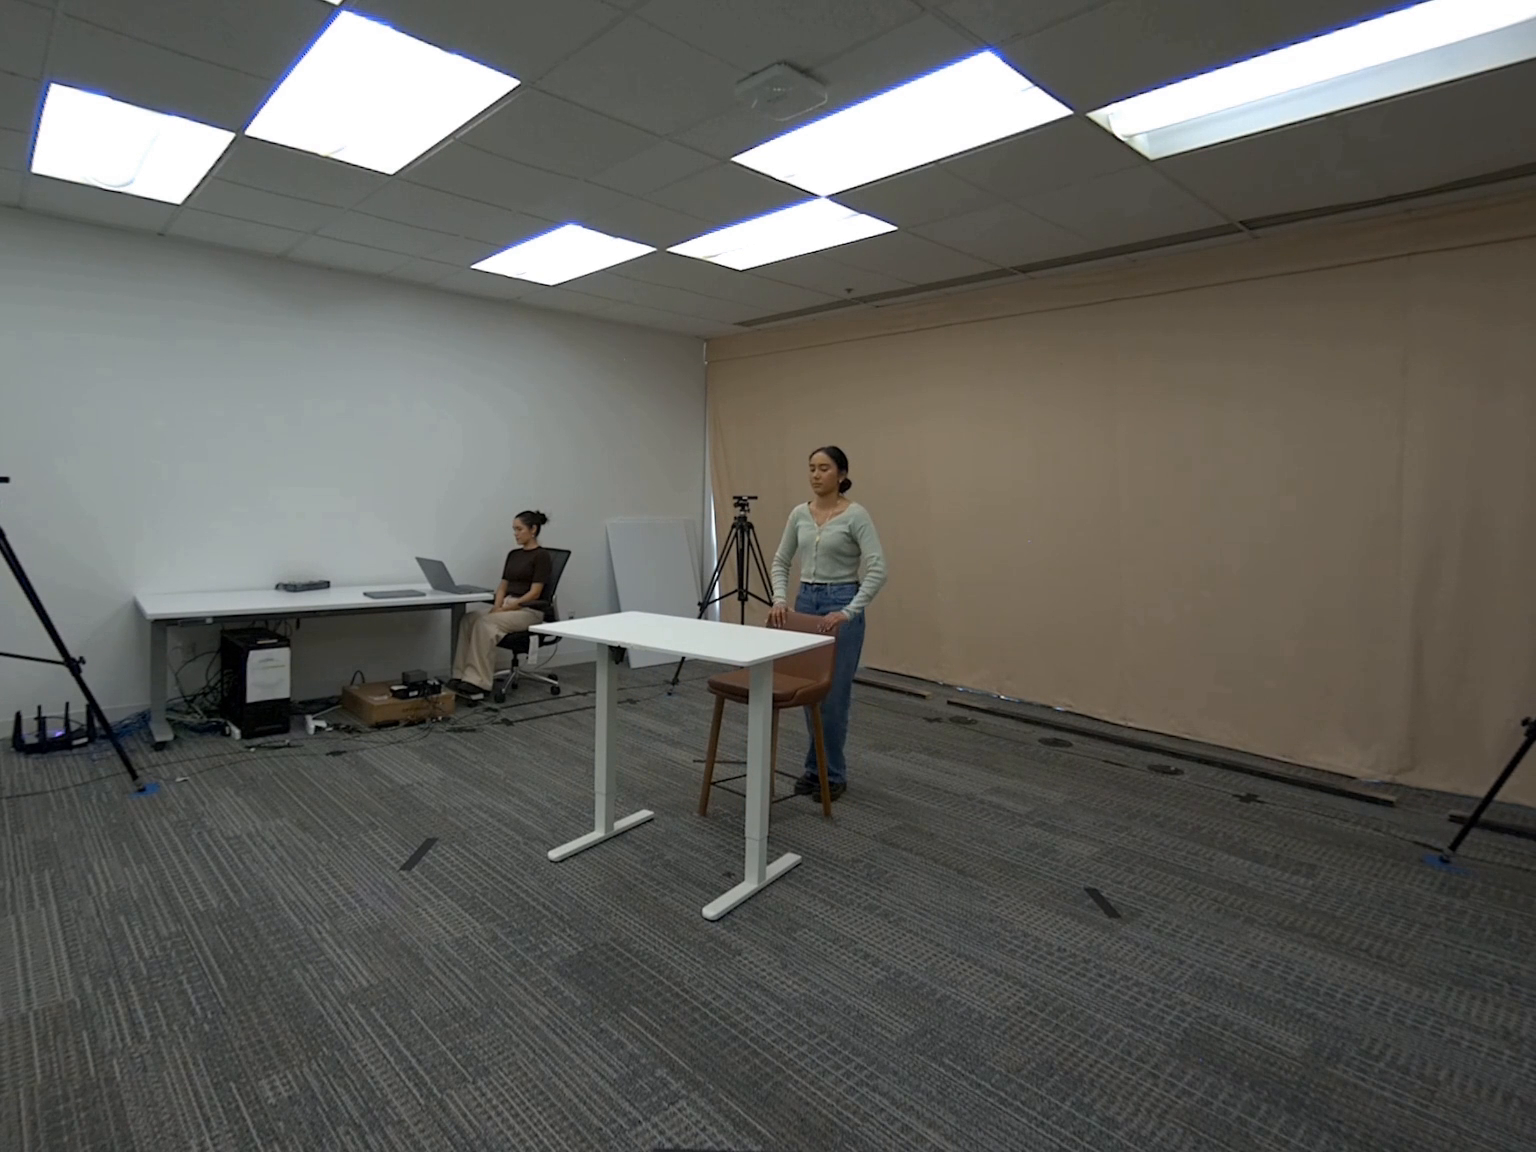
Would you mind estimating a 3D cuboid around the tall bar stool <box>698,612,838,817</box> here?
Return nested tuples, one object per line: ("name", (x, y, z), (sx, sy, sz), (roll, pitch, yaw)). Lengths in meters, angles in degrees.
("tall bar stool", (0.003, 0.614, 3.676), (0.456, 0.889, 0.468), (2, 2, -44))
